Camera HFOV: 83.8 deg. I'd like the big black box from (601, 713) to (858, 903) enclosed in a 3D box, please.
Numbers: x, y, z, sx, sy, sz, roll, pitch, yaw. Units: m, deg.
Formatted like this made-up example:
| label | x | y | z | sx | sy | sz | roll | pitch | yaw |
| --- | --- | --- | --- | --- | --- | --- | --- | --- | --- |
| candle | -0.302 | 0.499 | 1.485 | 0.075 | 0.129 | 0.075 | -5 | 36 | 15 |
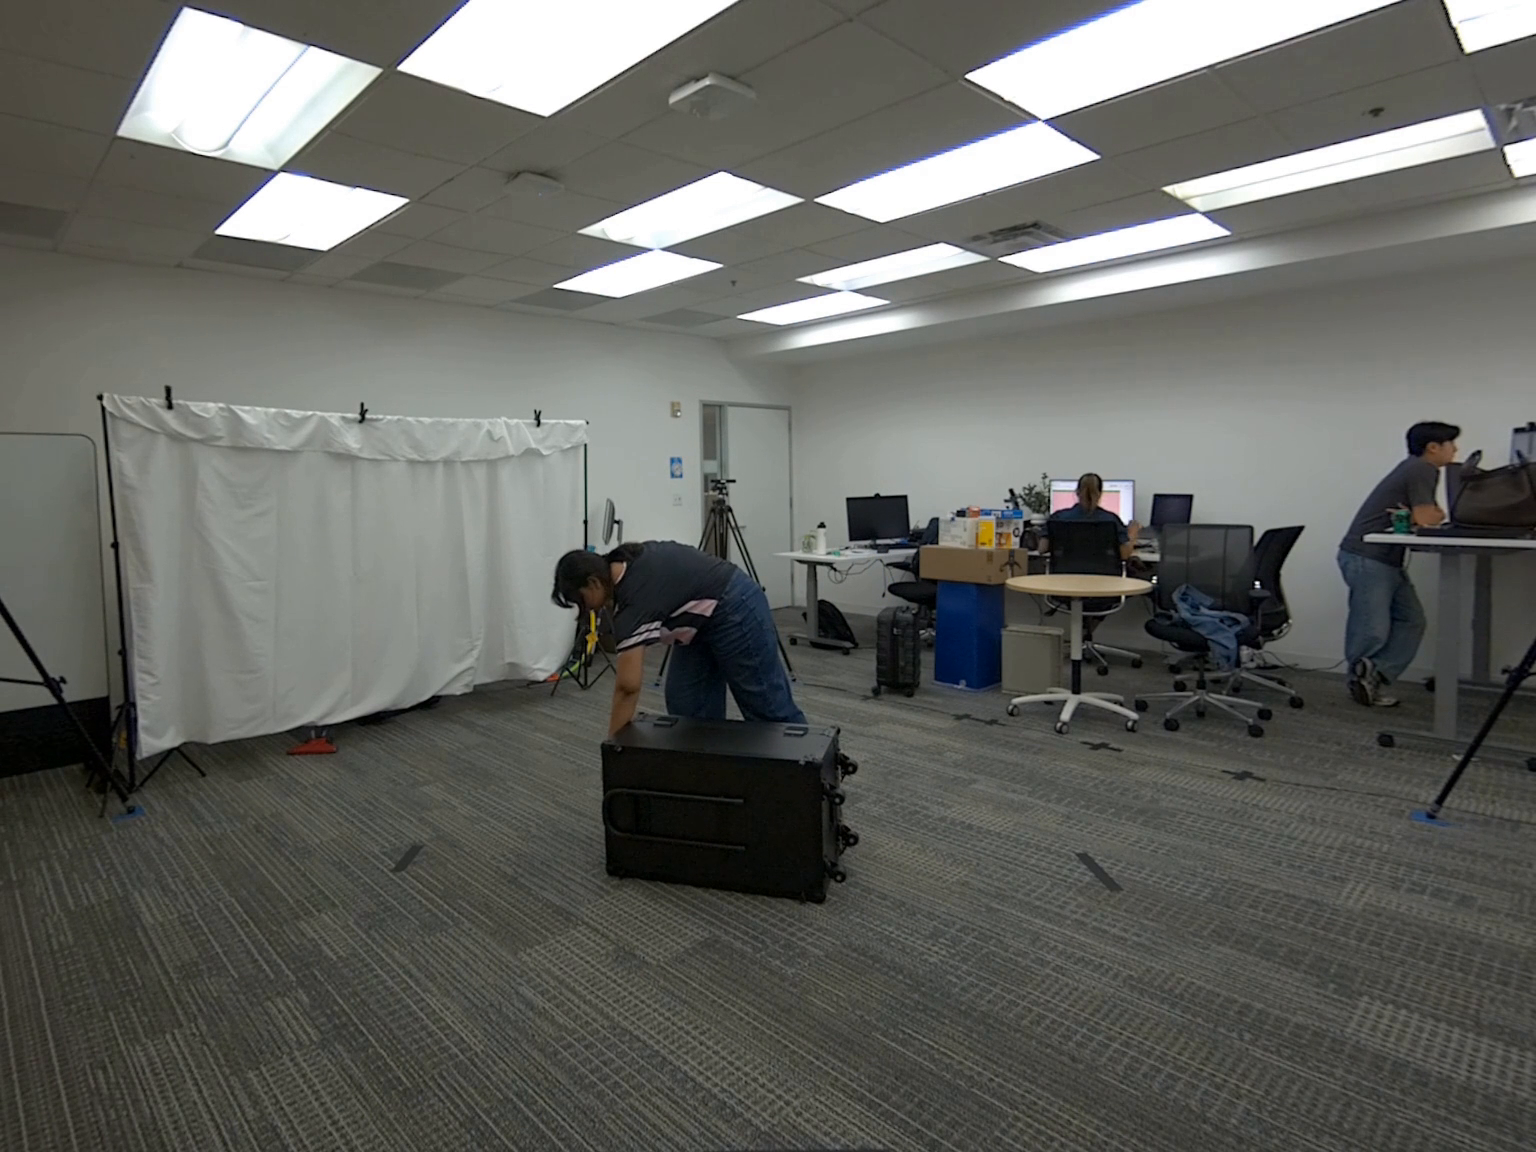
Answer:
| label | x | y | z | sx | sy | sz | roll | pitch | yaw |
| --- | --- | --- | --- | --- | --- | --- | --- | --- | --- |
| big black box | -0.122 | 0.800 | 3.045 | 0.883 | 0.521 | 0.380 | 0 | 5 | 17 |
